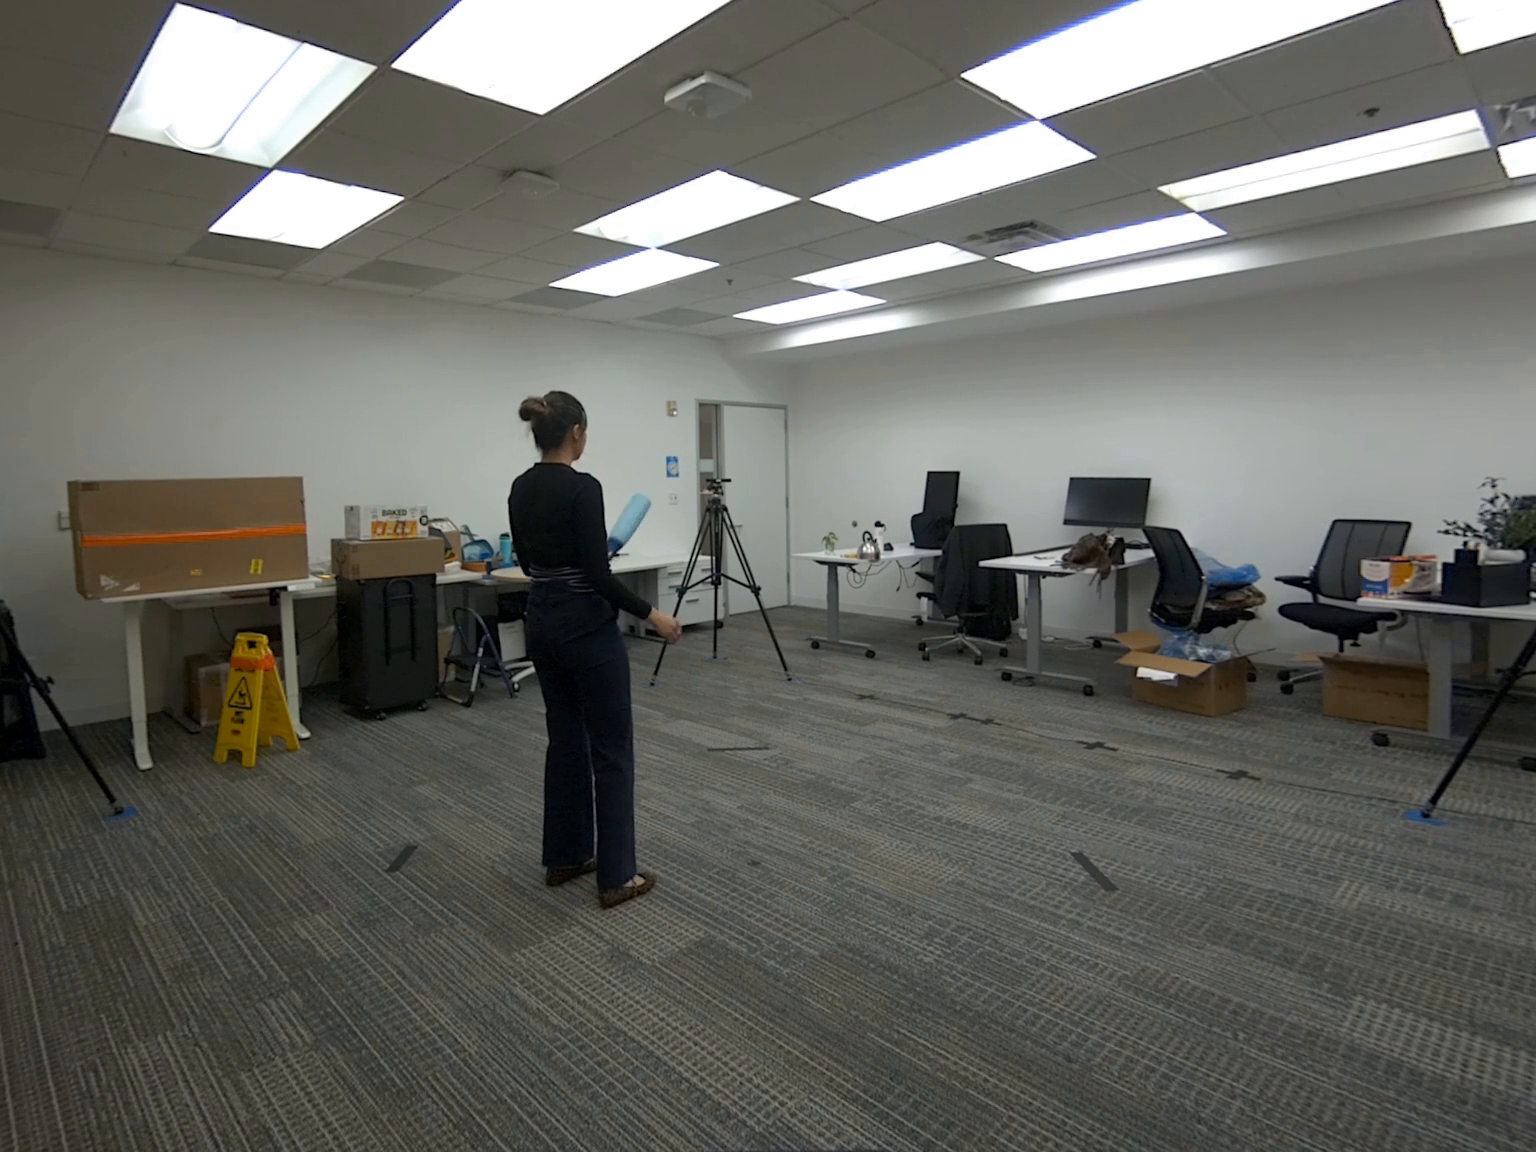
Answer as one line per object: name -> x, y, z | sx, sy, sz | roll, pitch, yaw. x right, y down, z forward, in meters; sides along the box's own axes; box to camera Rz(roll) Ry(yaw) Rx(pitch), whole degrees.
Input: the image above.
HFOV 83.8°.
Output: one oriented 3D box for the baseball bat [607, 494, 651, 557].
baseball bat -> -0.607, -0.127, 3.389 | 0.090, 0.549, 0.087 | 17, -34, 10
